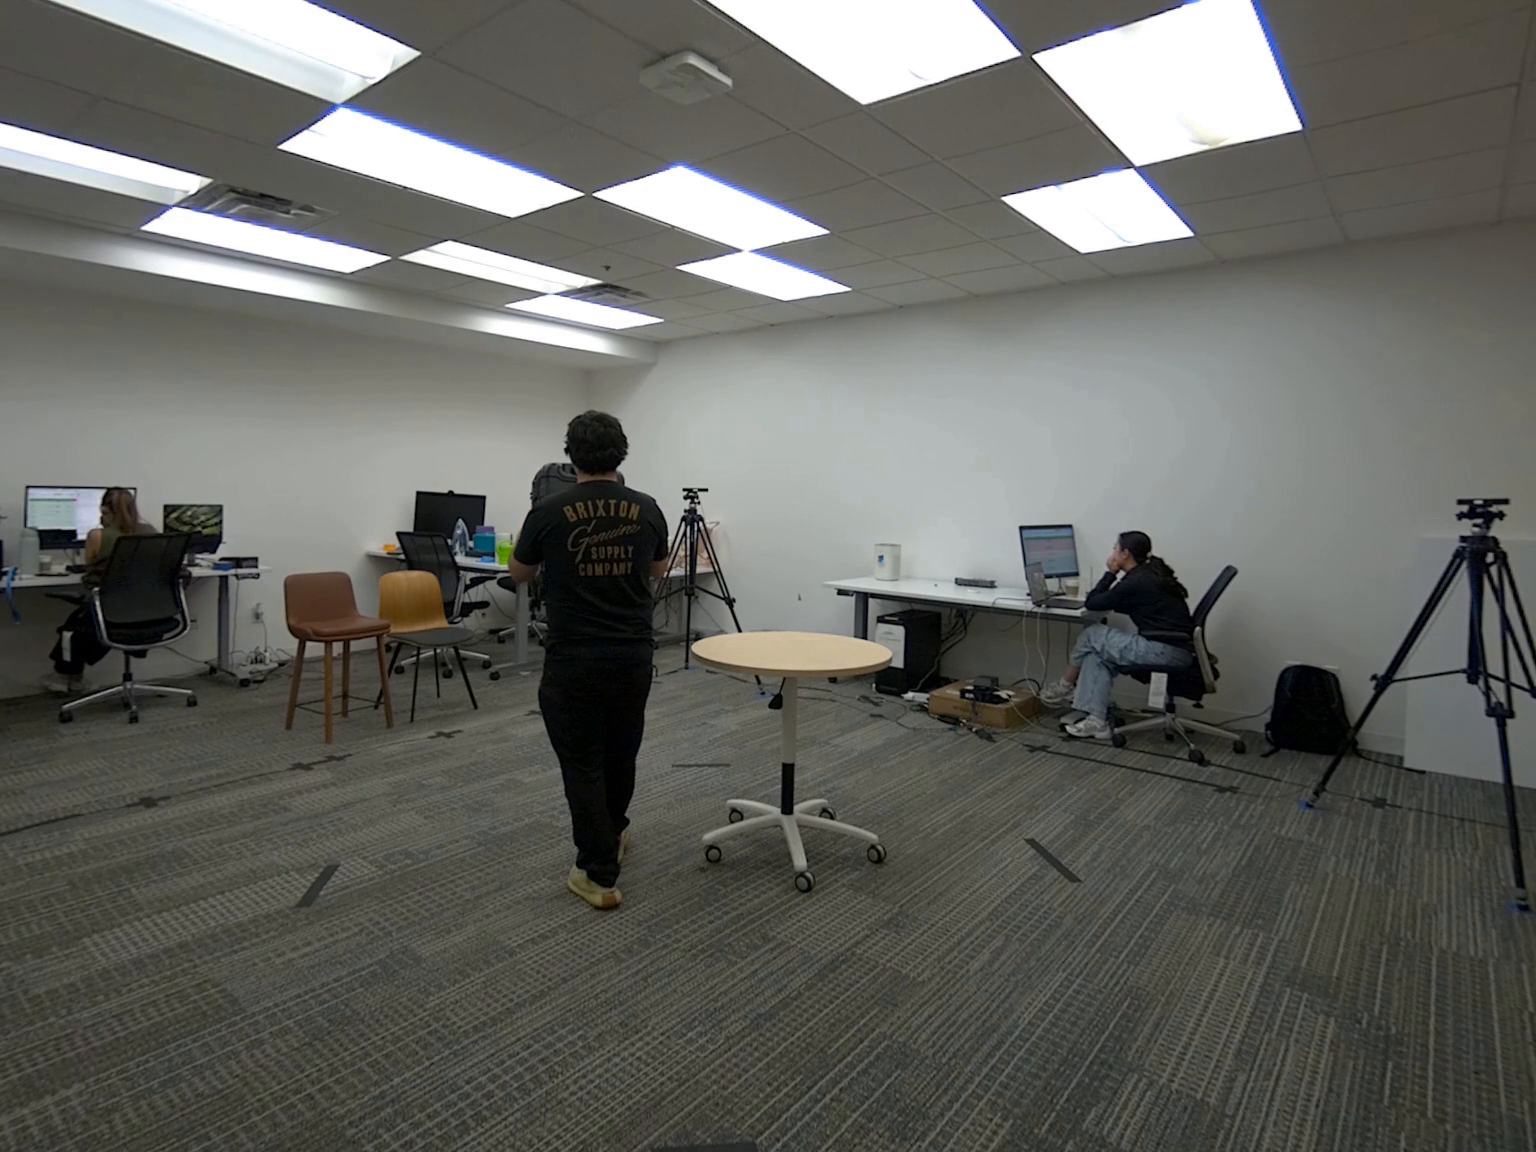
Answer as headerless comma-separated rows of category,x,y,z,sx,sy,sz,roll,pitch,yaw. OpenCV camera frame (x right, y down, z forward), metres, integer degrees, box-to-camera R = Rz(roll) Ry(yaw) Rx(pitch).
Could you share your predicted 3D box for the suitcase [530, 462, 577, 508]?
suitcase,-0.745,-0.158,3.289,0.367,0.558,0.250,2,-17,-22
